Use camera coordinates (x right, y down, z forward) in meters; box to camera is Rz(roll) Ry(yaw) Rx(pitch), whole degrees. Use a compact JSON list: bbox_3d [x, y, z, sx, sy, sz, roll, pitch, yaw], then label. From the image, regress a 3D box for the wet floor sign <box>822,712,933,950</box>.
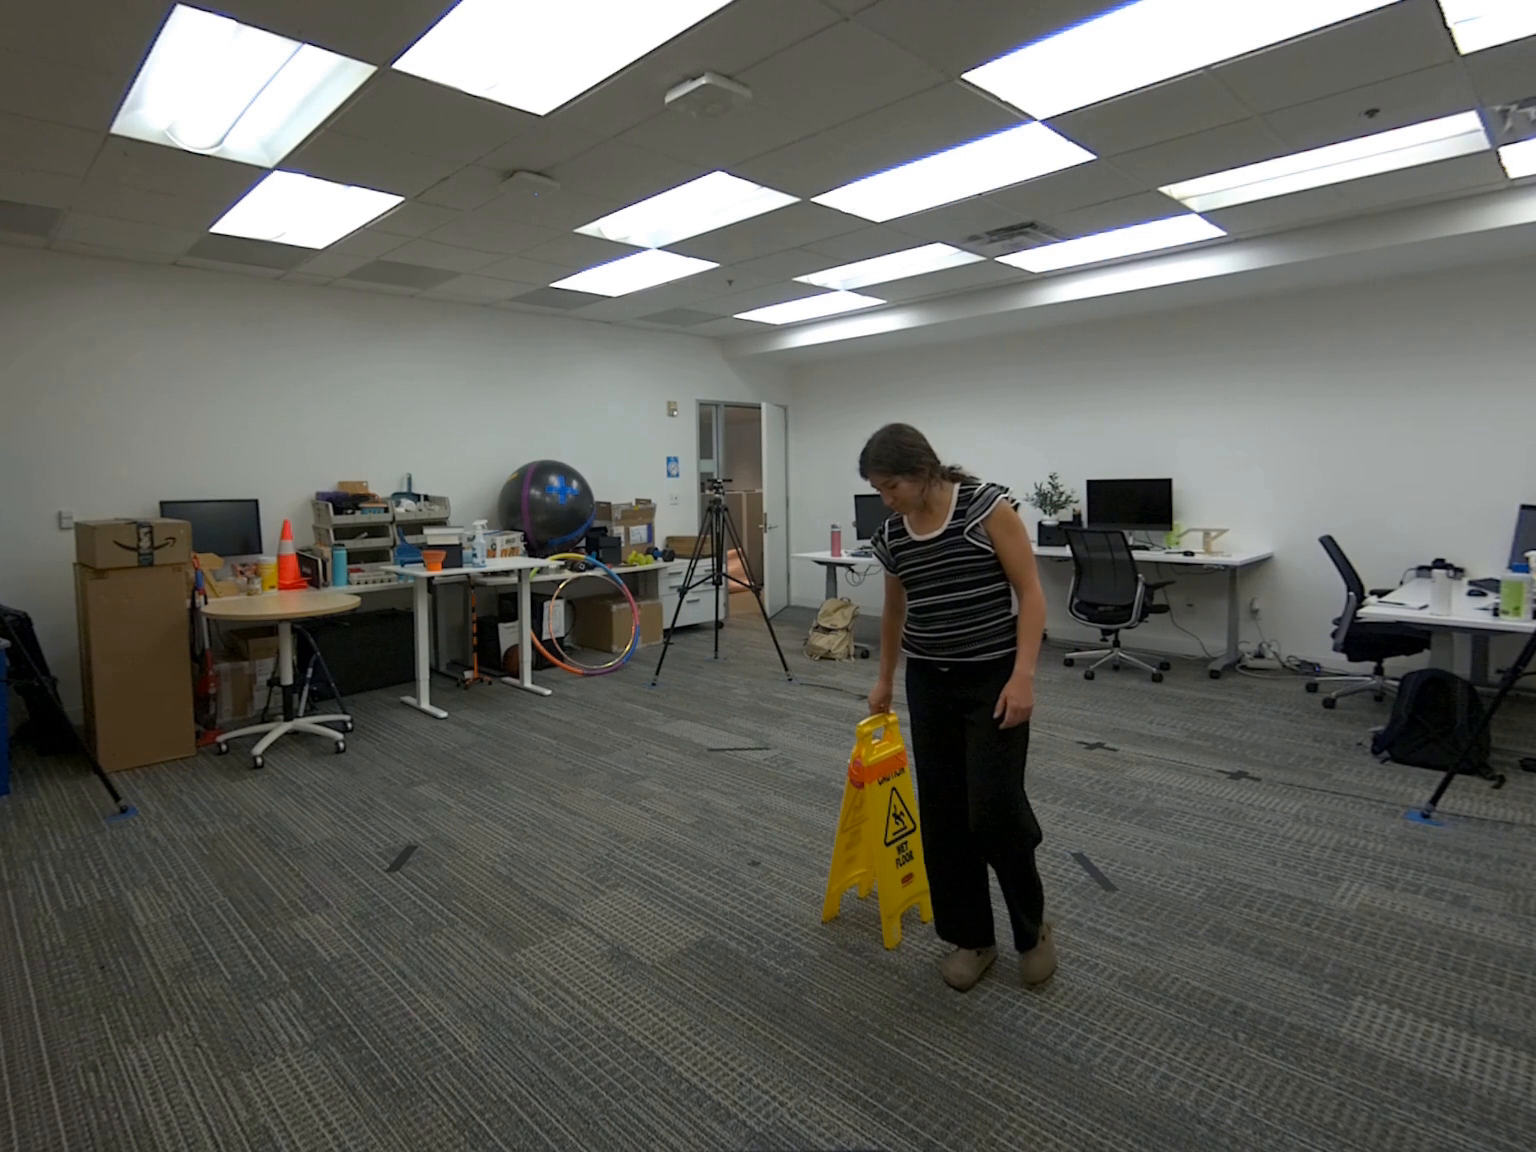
[{"bbox_3d":[0.353,0.762,2.679,0.298,0.643,0.275,3,6,42],"label":"wet floor sign"}]
